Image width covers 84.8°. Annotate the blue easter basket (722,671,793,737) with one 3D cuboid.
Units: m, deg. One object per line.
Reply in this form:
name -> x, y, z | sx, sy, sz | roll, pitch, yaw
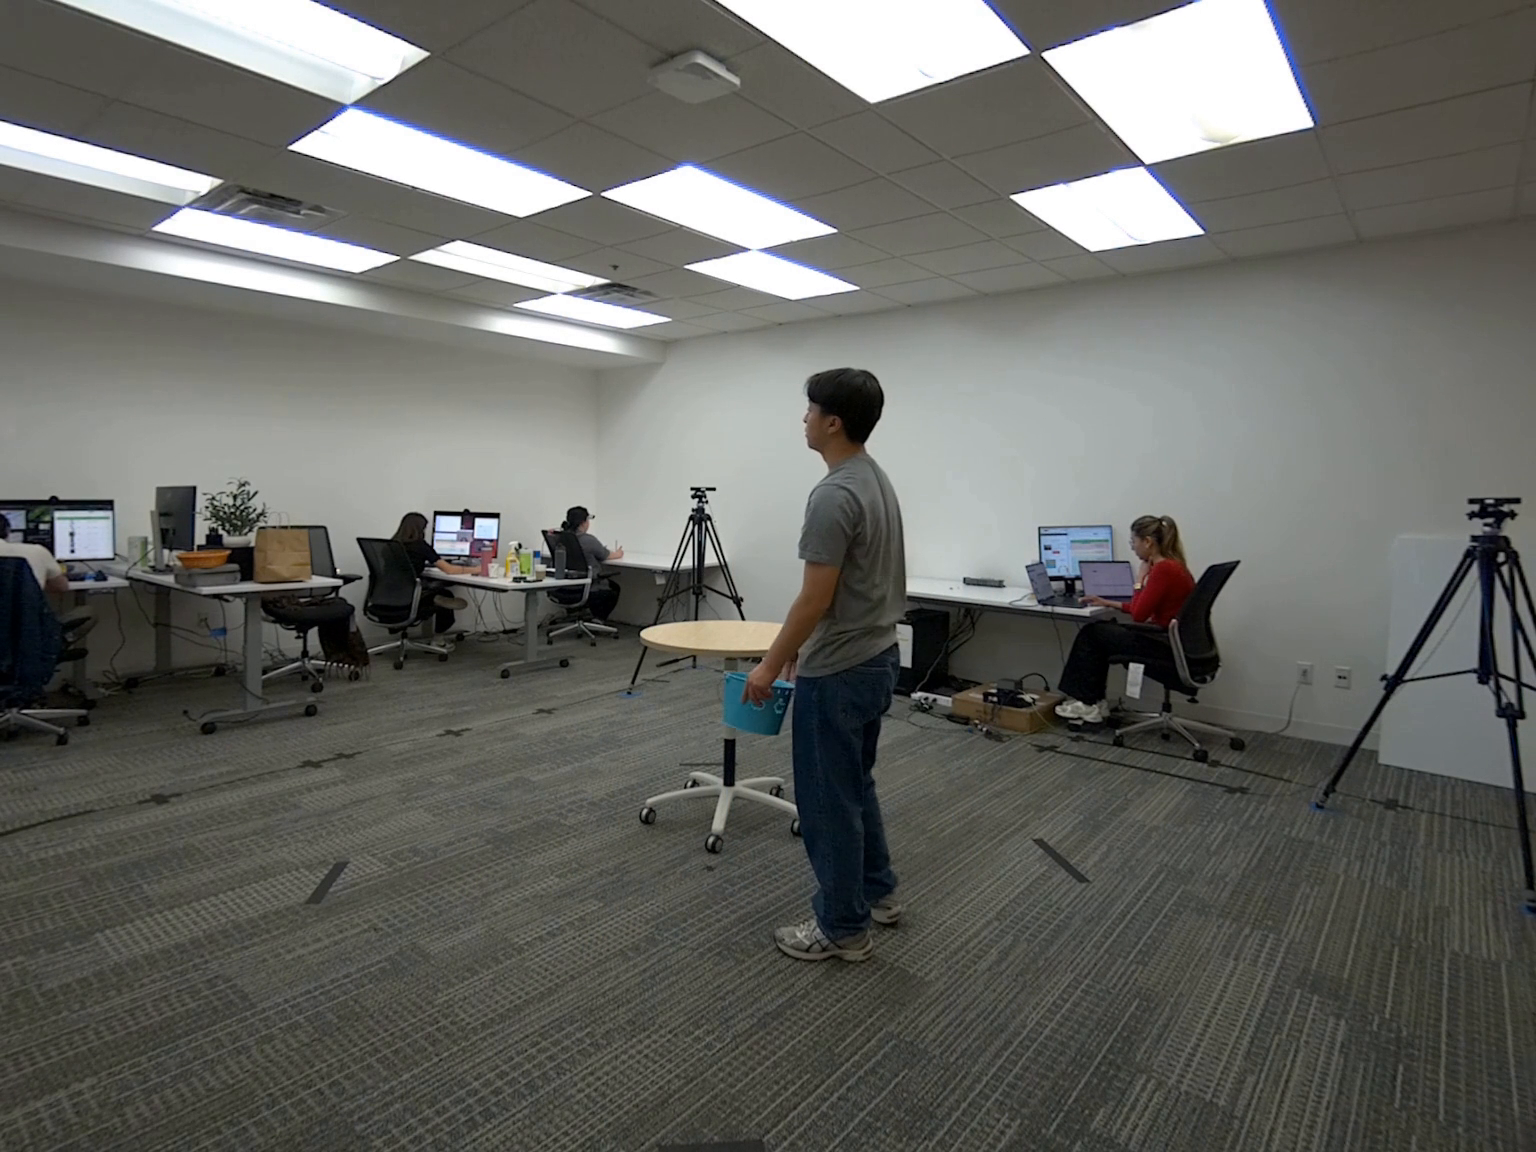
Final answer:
blue easter basket -> -0.026, 0.391, 2.637 | 0.243, 0.156, 0.244 | 9, 1, -2
